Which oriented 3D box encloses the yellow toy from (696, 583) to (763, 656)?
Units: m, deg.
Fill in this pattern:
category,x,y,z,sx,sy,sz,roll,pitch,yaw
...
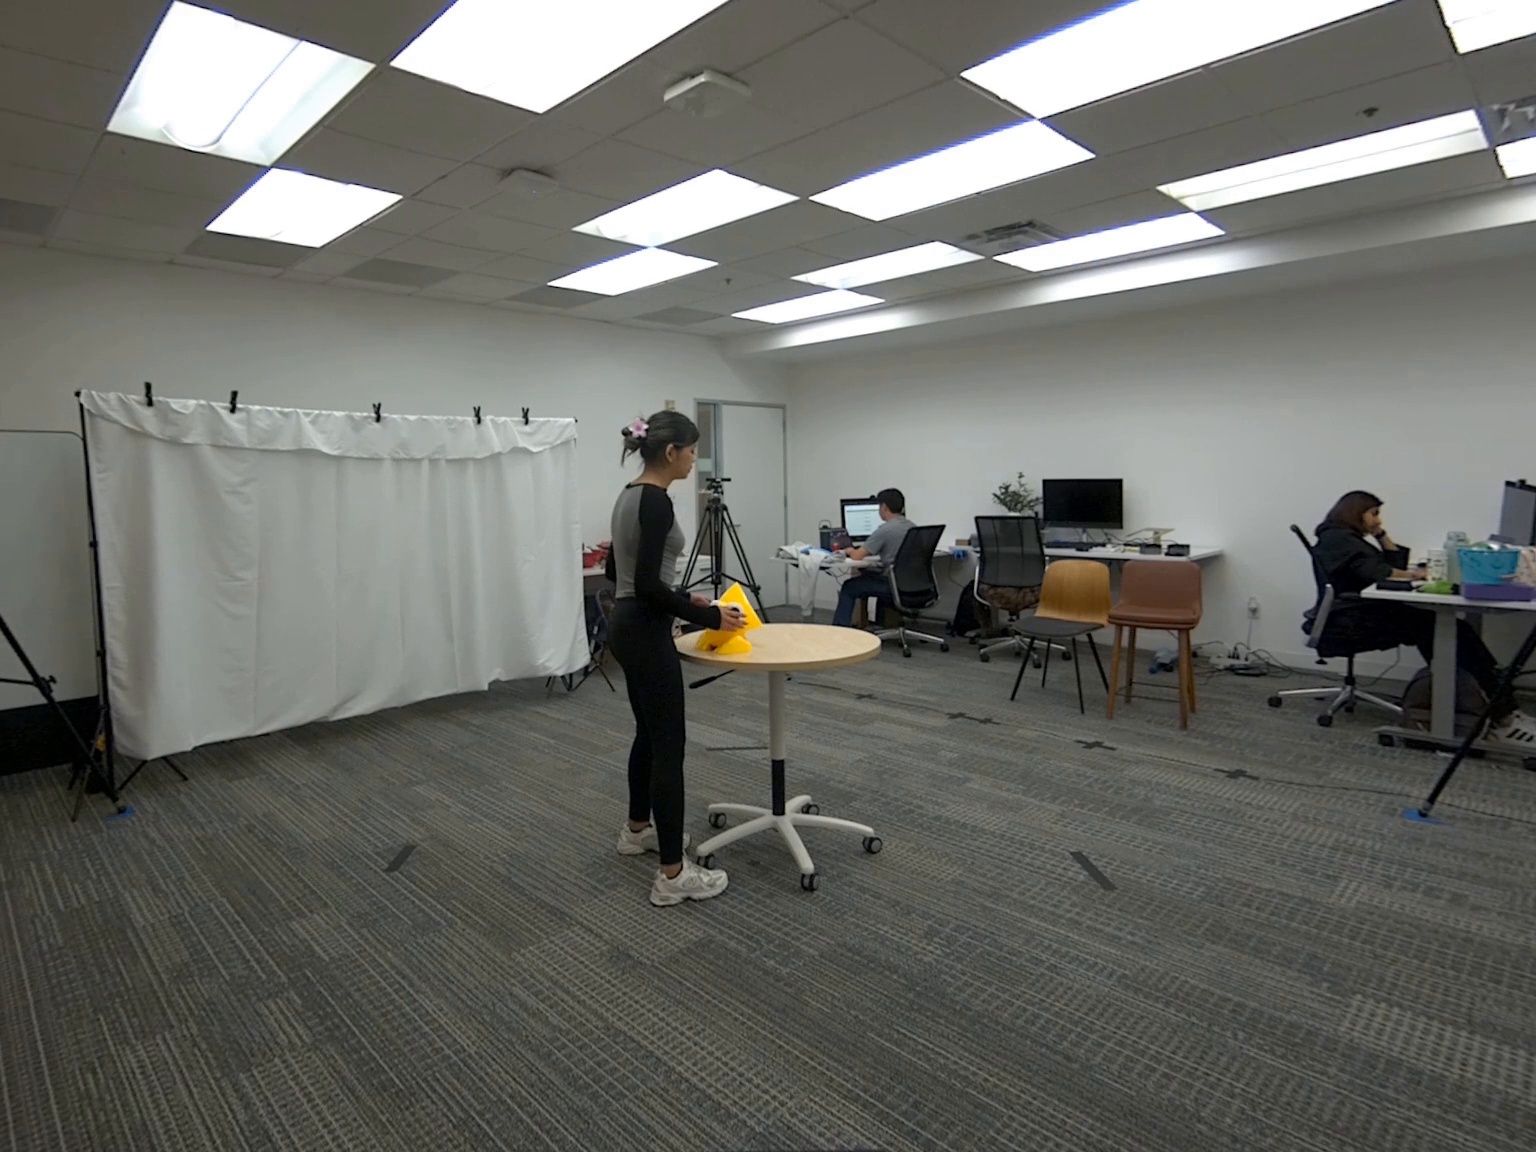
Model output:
category,x,y,z,sx,sy,sz,roll,pitch,yaw
yellow toy,-0.154,0.144,3.049,0.188,0.230,0.211,-5,6,-40
